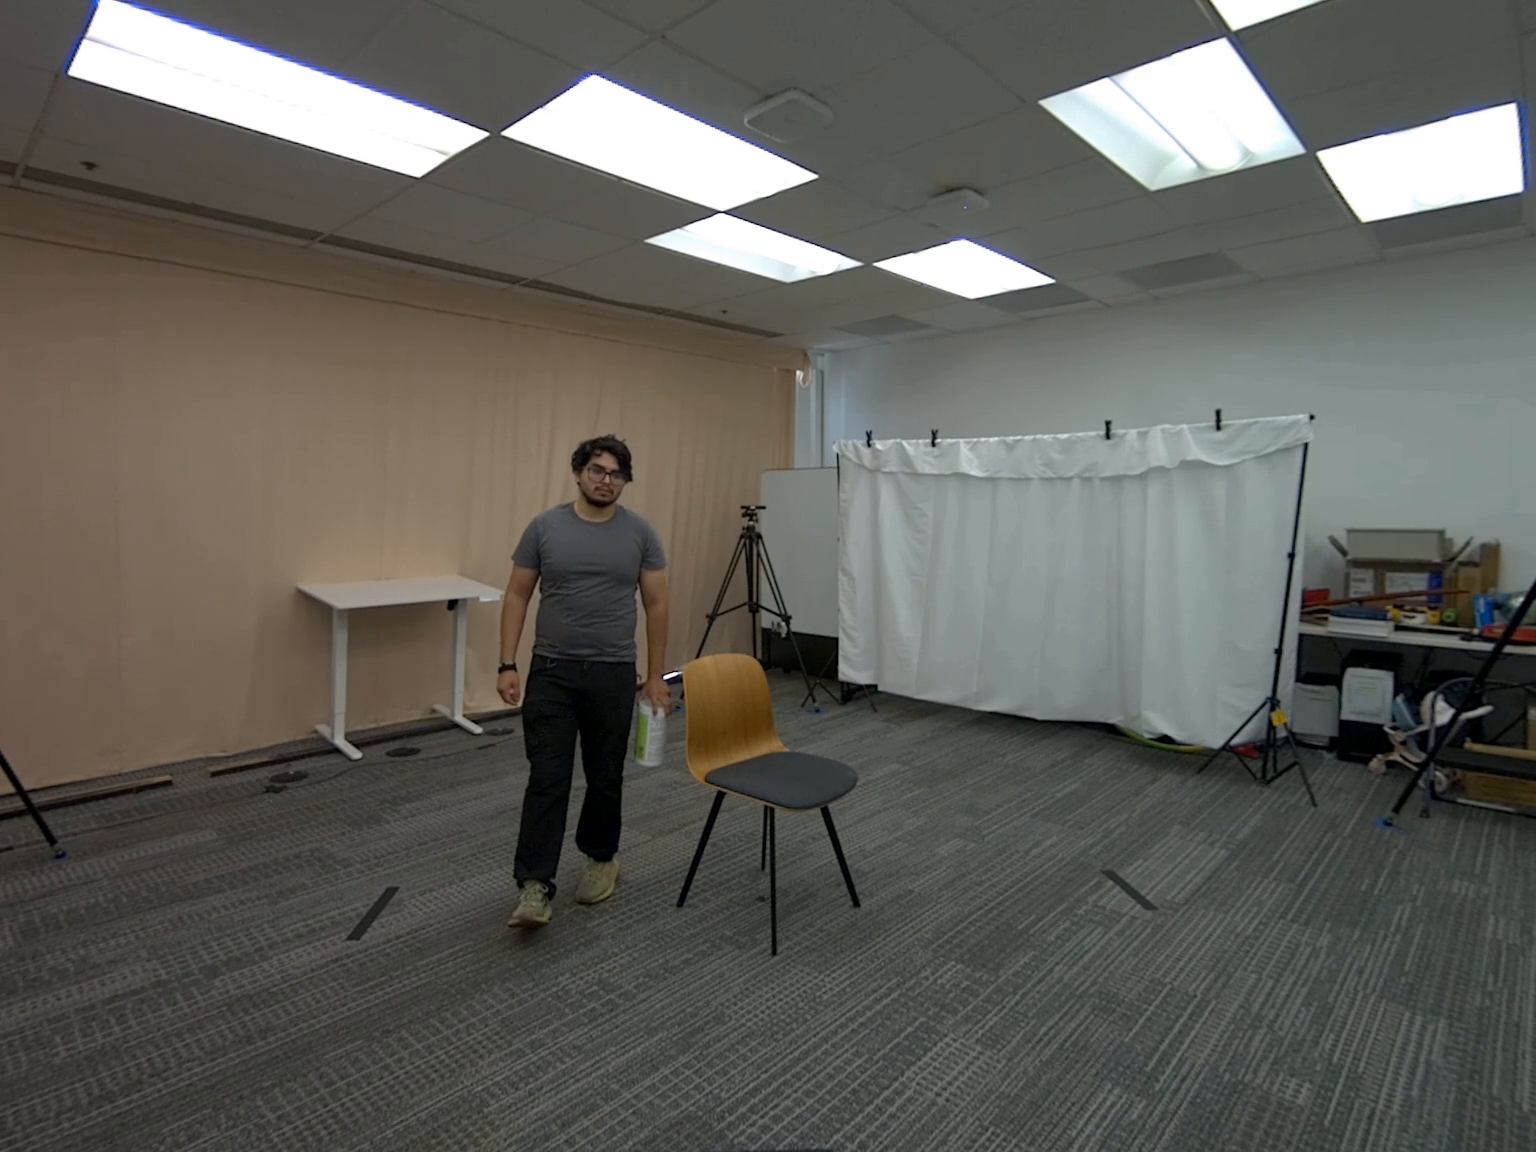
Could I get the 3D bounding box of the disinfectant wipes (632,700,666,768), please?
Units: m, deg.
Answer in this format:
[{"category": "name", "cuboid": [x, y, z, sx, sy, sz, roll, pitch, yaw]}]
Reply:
[{"category": "disinfectant wipes", "cuboid": [-0.404, 0.560, 2.960, 0.117, 0.217, 0.118, 6, 5, -2]}]
